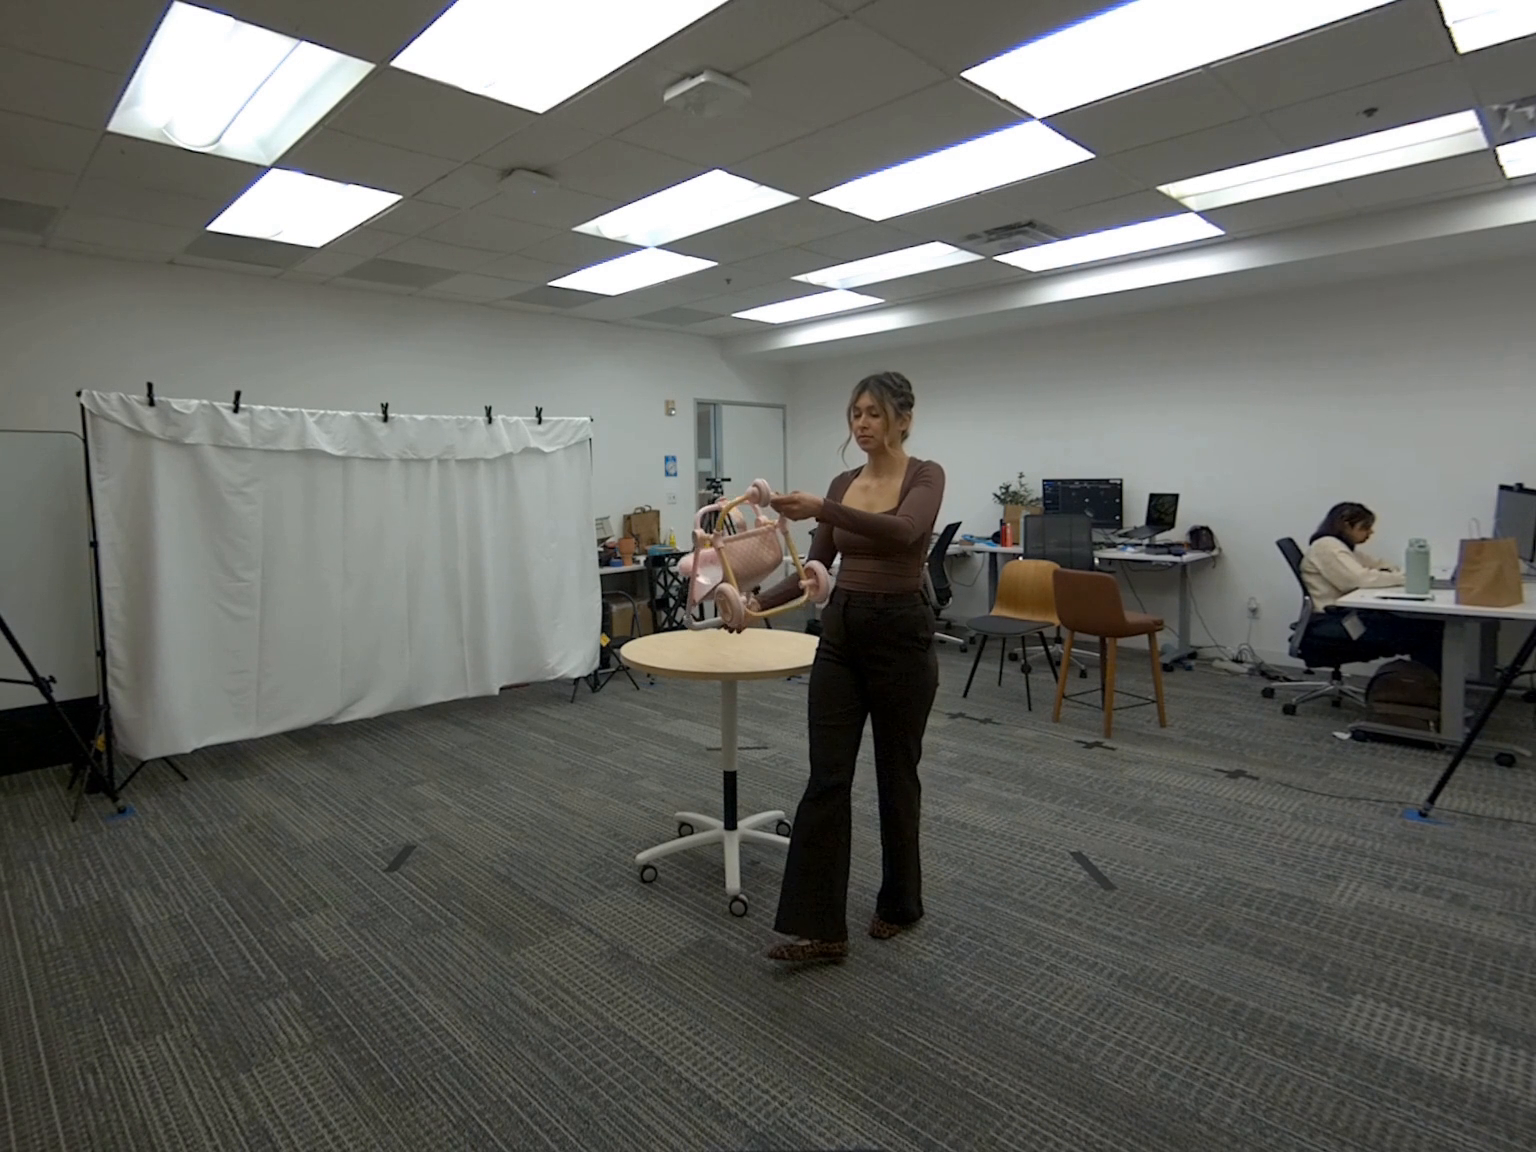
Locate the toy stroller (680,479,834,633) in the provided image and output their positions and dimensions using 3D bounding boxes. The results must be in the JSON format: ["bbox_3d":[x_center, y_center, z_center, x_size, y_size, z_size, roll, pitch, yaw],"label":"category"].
[{"bbox_3d":[-0.075,-0.039,2.235,0.277,0.342,0.542,-18,-1,-25],"label":"toy stroller"}]
